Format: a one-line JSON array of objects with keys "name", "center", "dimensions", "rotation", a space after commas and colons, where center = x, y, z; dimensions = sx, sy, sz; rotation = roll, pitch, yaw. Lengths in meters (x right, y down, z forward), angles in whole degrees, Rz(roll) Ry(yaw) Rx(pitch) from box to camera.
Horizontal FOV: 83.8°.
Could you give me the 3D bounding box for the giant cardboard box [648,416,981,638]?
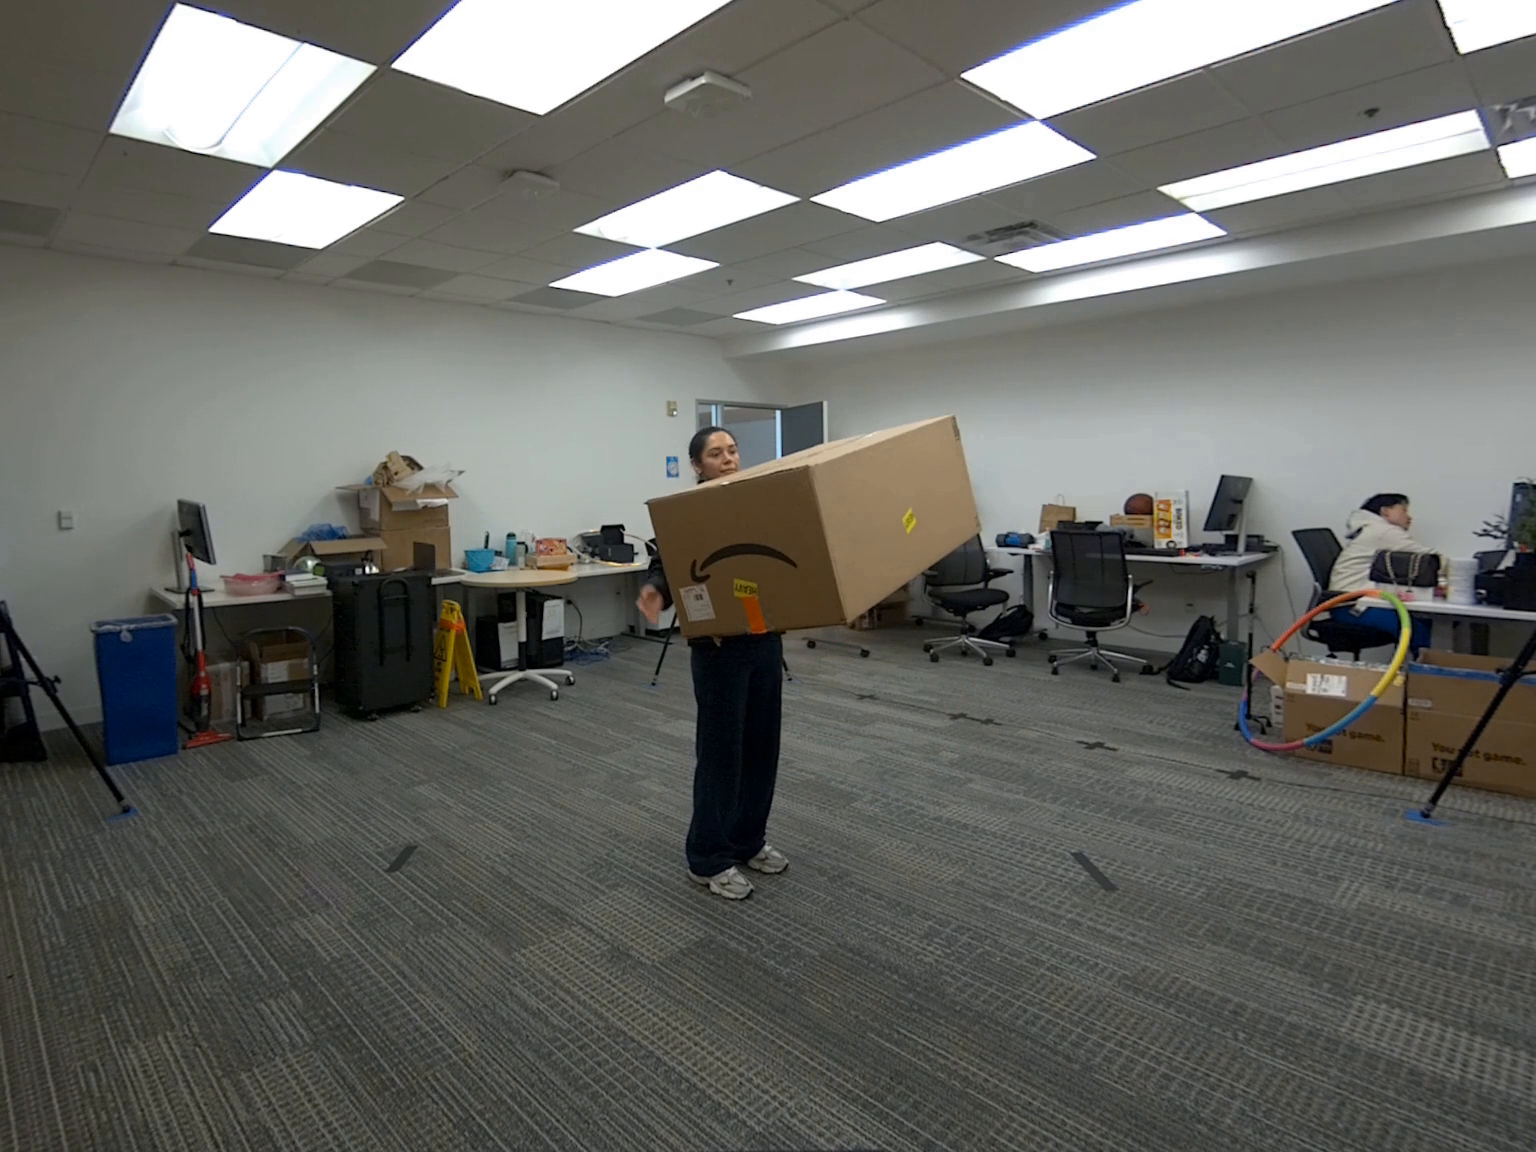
[{"name": "giant cardboard box", "center": [0.194, -0.186, 2.756], "dimensions": [0.591, 0.423, 1.010], "rotation": [-8, 11, 36]}]
